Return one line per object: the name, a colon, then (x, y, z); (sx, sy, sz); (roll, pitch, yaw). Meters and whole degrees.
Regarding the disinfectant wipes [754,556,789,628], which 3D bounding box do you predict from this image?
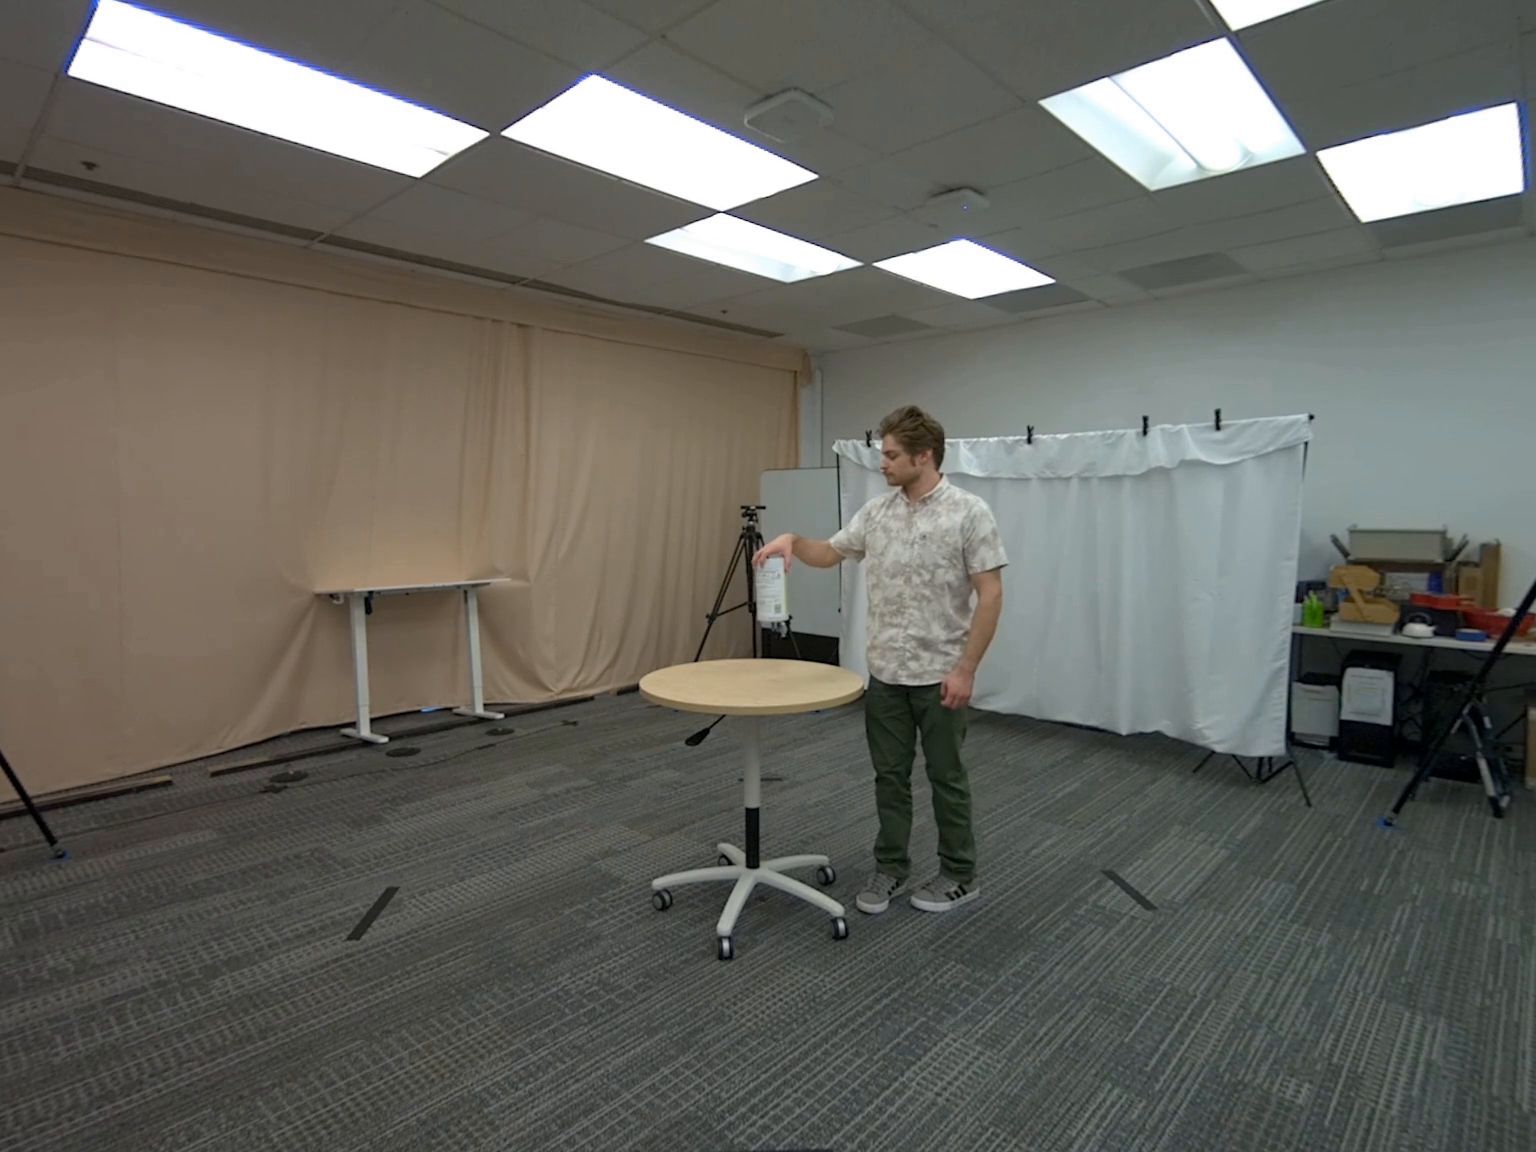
disinfectant wipes: (0.021, 0.052, 2.913); (0.118, 0.217, 0.118); (-1, 0, -2)
